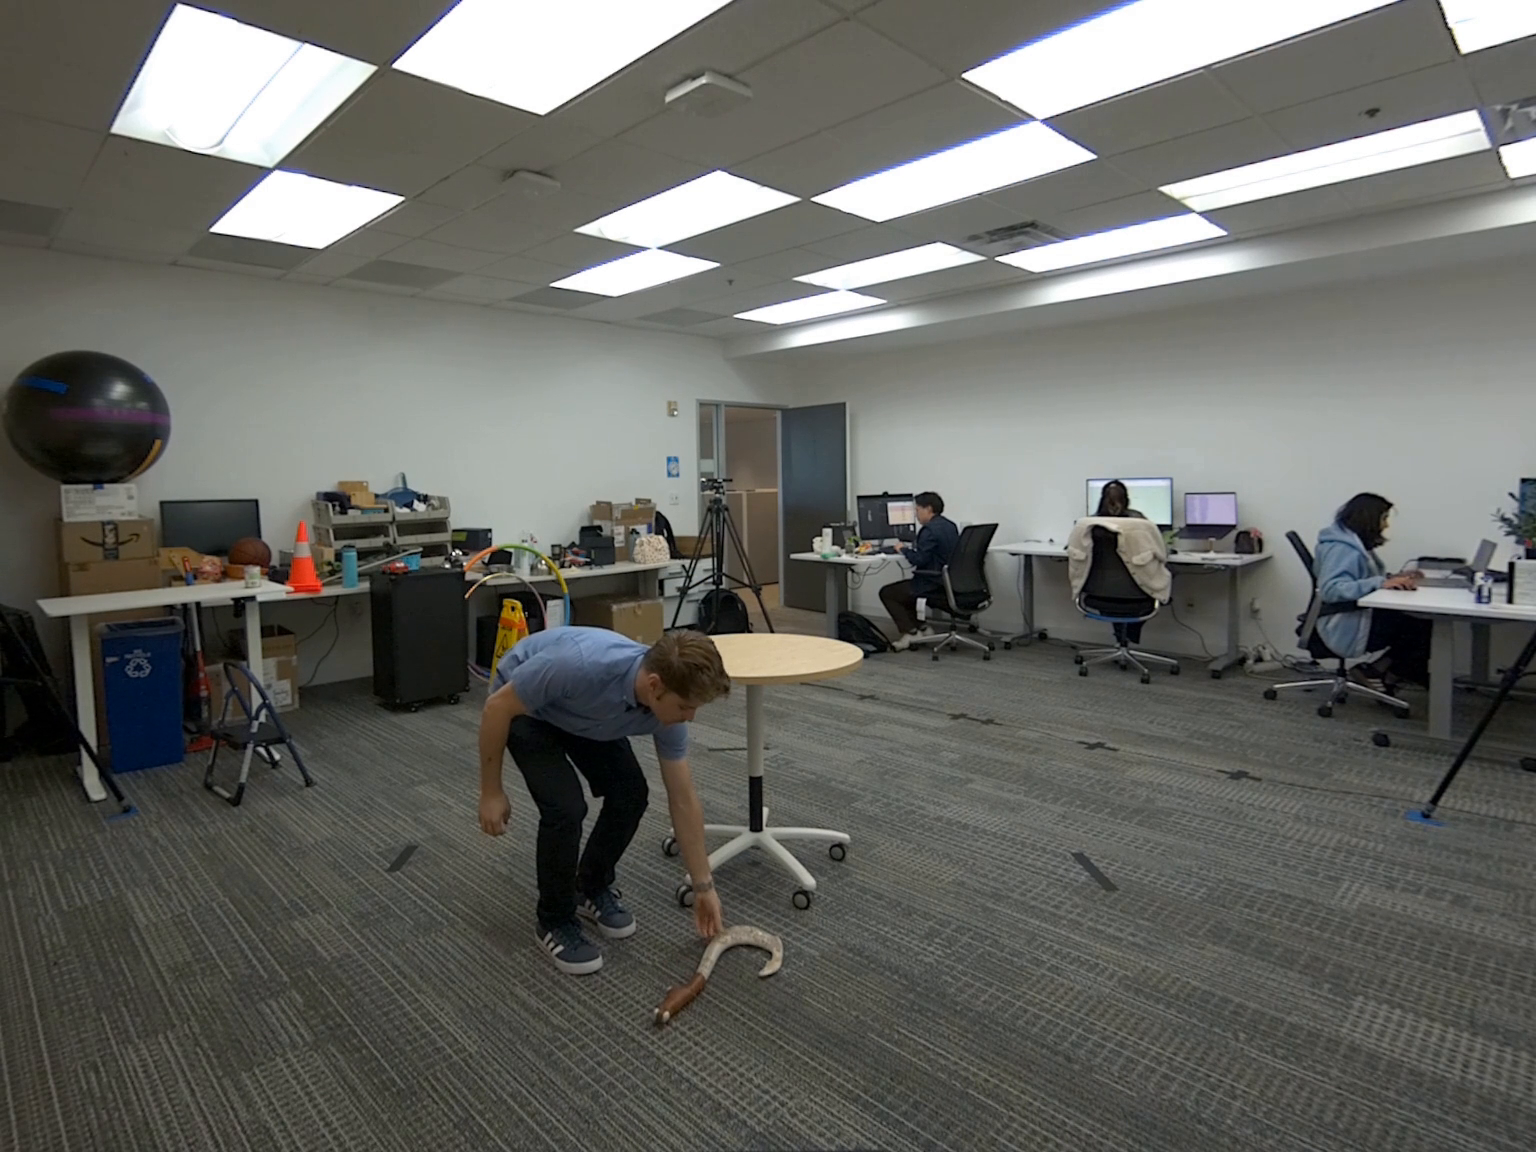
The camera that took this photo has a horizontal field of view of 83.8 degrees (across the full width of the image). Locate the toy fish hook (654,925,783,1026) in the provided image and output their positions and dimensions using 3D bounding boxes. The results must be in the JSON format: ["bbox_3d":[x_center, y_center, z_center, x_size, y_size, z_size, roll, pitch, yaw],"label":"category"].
[{"bbox_3d":[-0.122,1.110,2.378,0.230,0.048,0.497,3,9,27],"label":"toy fish hook"}]
